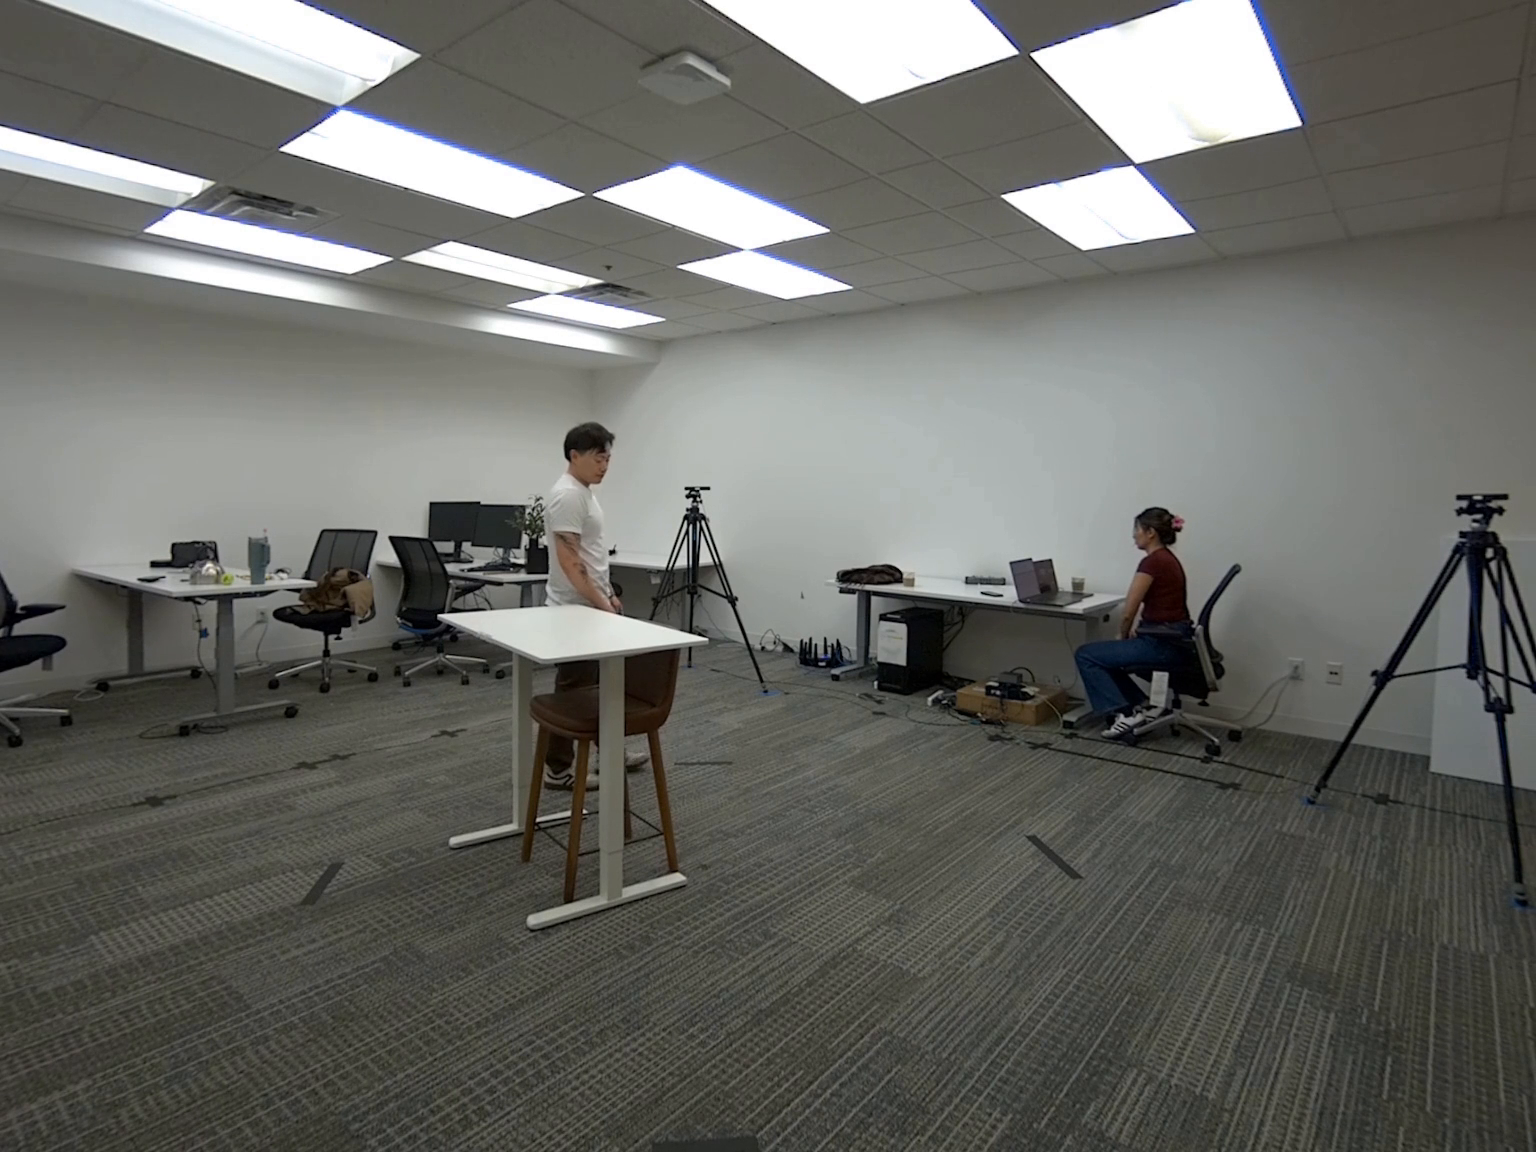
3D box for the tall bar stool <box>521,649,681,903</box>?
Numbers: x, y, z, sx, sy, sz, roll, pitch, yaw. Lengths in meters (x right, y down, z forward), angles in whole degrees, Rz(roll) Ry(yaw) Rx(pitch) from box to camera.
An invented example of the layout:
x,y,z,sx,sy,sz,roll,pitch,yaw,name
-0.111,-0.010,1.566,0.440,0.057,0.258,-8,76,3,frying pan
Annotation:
x,y,z,sx,sy,sz,roll,pitch,yaw,name
-0.611,0.631,3.093,0.453,0.889,0.471,1,2,-36,tall bar stool
